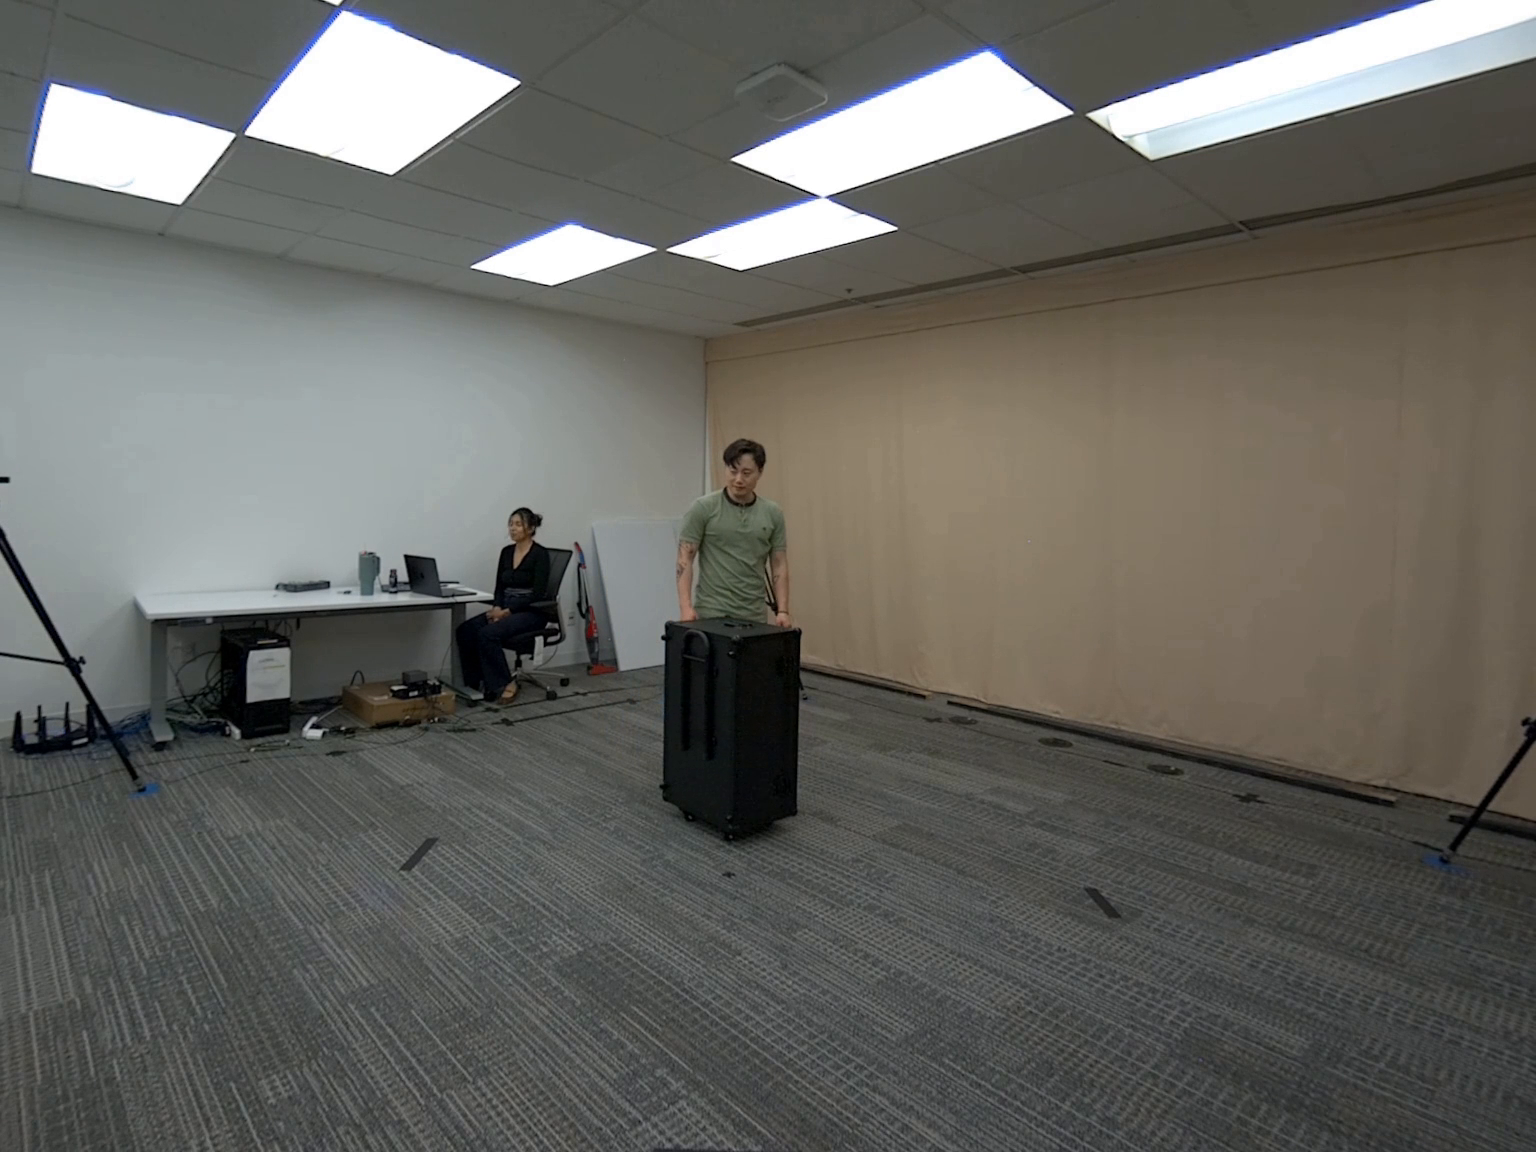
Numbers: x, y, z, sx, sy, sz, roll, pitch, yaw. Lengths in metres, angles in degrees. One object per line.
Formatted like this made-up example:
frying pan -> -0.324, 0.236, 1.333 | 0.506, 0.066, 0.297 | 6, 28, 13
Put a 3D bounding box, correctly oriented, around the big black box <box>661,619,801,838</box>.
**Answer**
big black box -> -0.173, 0.637, 3.570 | 0.387, 0.859, 0.534 | -3, 6, -41
